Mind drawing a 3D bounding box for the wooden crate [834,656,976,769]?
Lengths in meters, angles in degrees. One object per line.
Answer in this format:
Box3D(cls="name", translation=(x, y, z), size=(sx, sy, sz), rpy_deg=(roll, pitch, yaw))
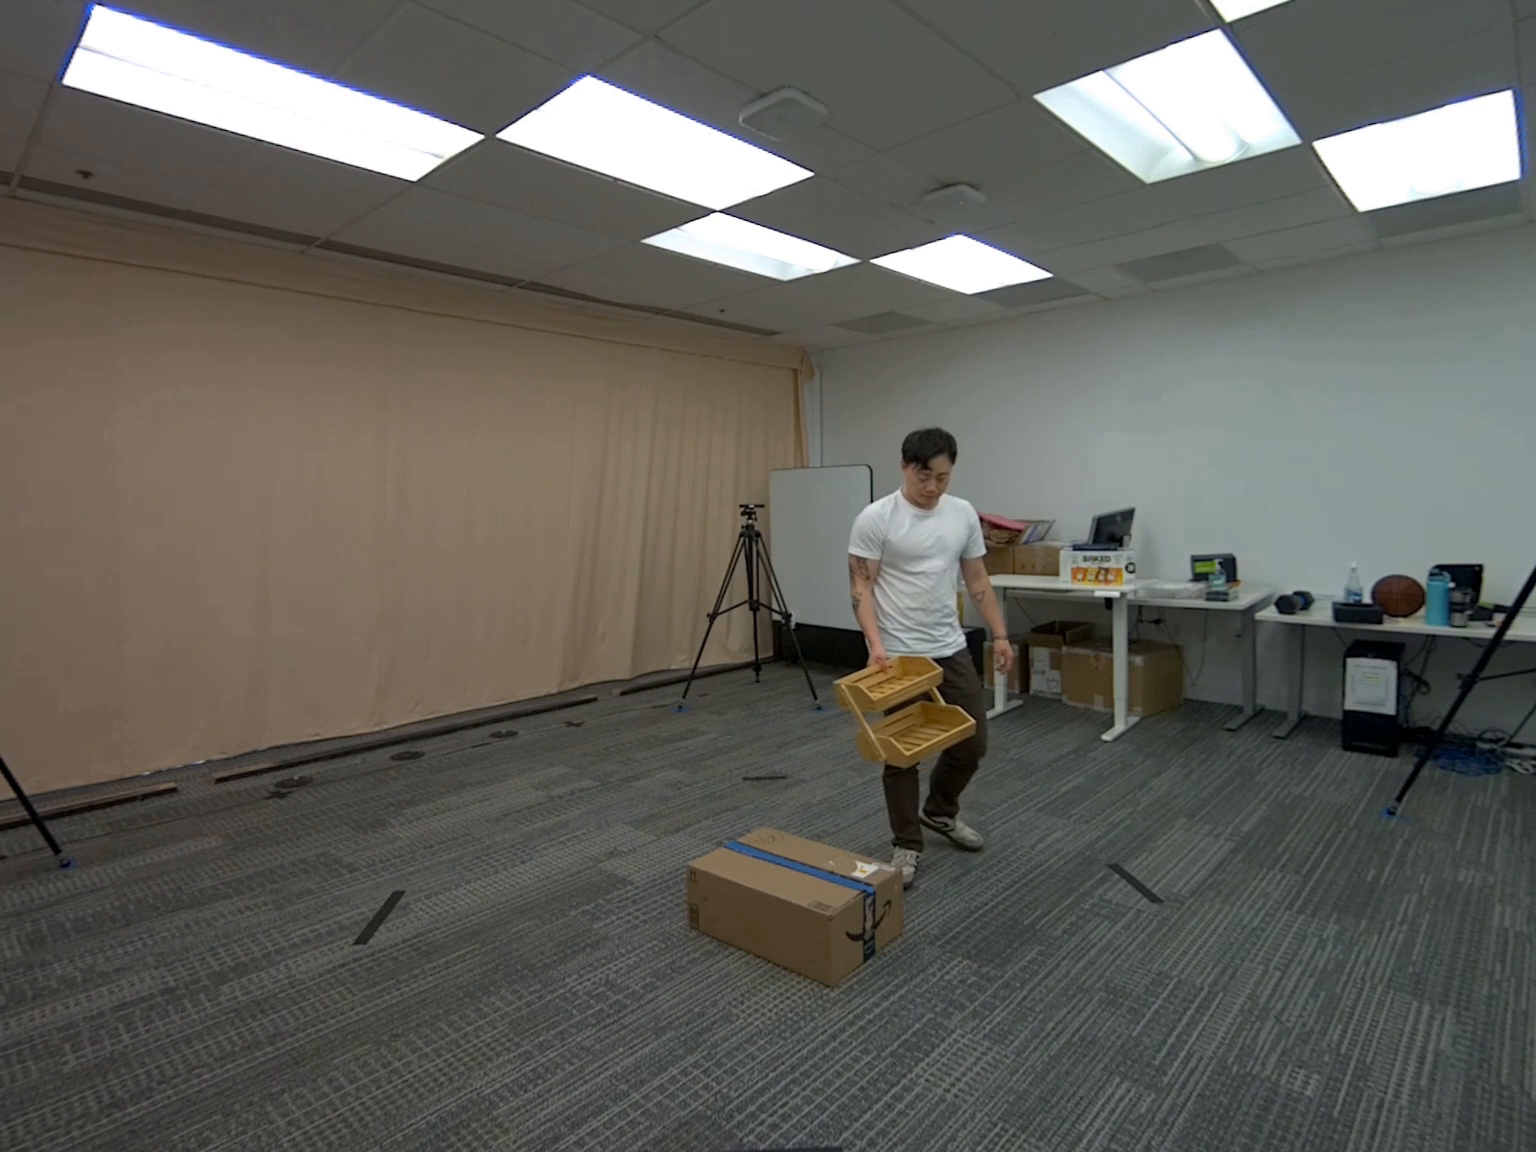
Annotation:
Box3D(cls="wooden crate", translation=(0.456, 0.434, 2.785), size=(0.318, 0.272, 0.309), rpy_deg=(-17, 4, -28))
